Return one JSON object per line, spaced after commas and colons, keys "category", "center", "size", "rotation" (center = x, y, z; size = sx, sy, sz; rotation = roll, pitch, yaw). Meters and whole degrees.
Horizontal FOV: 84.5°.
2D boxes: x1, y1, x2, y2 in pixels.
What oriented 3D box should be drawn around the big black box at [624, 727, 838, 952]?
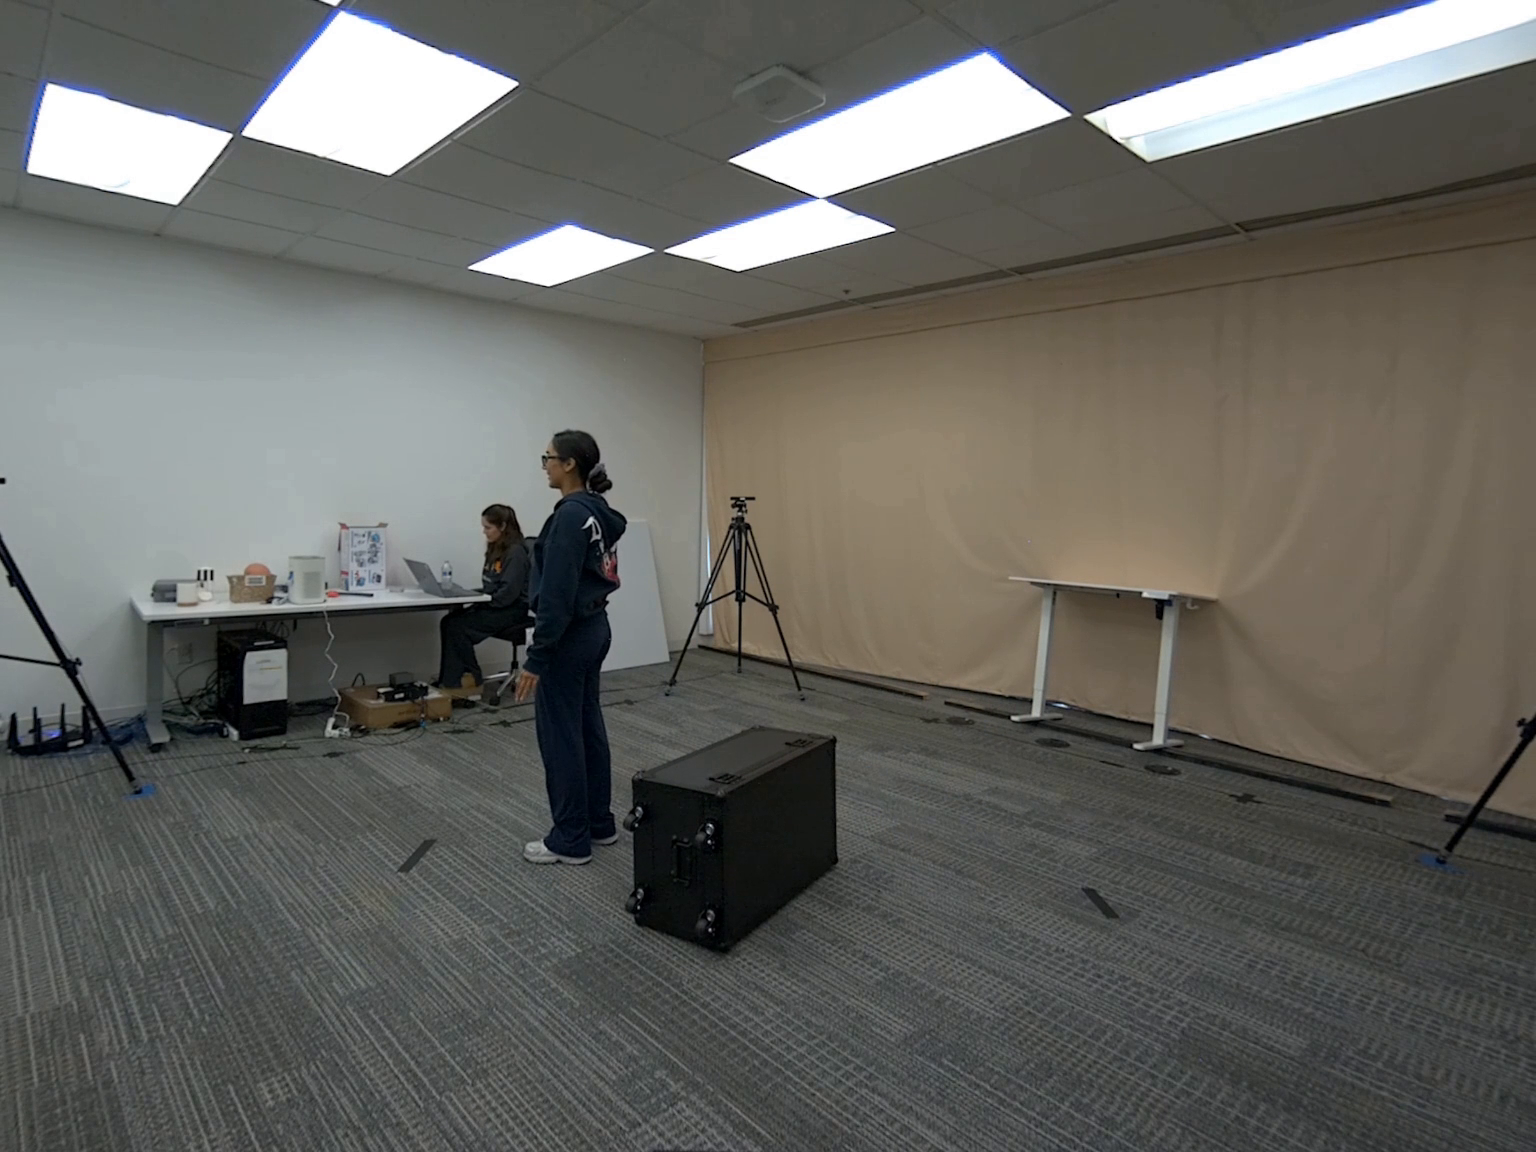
{"category": "big black box", "center": [-0.120, 0.866, 2.939], "size": [0.405, 0.520, 0.844], "rotation": [1, 3, 31]}
